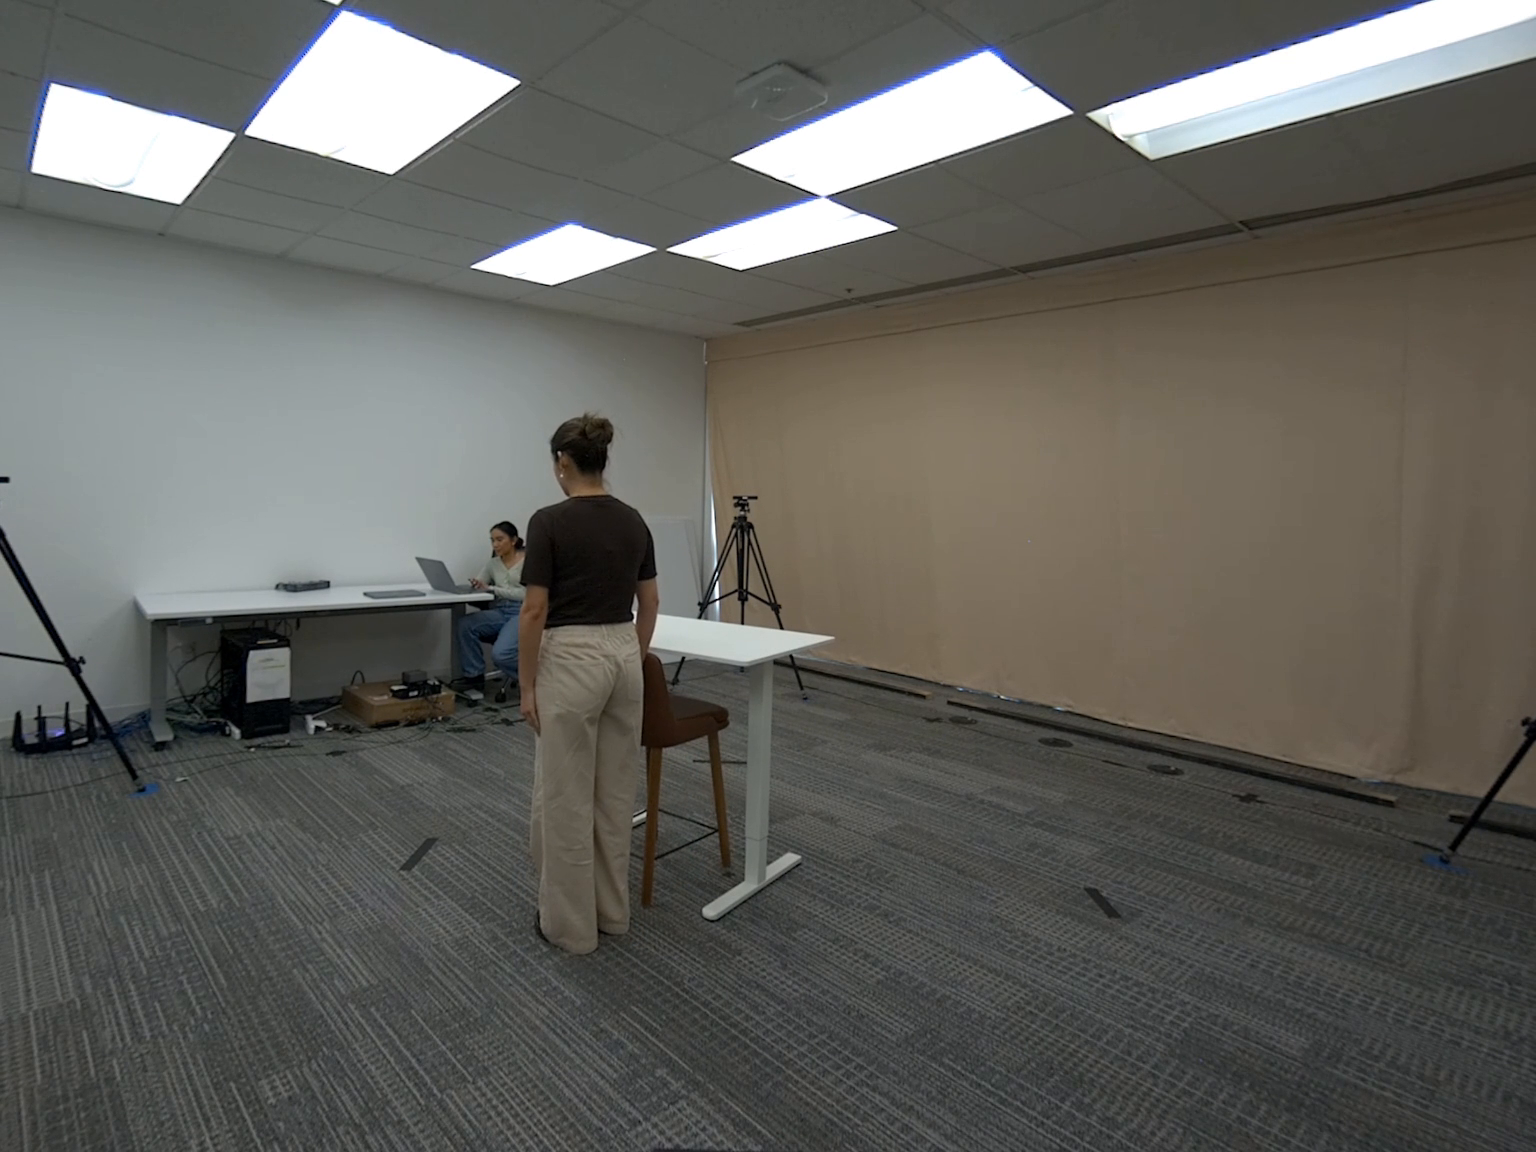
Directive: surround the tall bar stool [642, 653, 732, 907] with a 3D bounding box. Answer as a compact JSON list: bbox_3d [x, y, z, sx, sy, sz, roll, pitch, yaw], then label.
[{"bbox_3d":[-0.432,0.665,3.097,0.467,0.886,0.458,4,6,36],"label":"tall bar stool"}]
